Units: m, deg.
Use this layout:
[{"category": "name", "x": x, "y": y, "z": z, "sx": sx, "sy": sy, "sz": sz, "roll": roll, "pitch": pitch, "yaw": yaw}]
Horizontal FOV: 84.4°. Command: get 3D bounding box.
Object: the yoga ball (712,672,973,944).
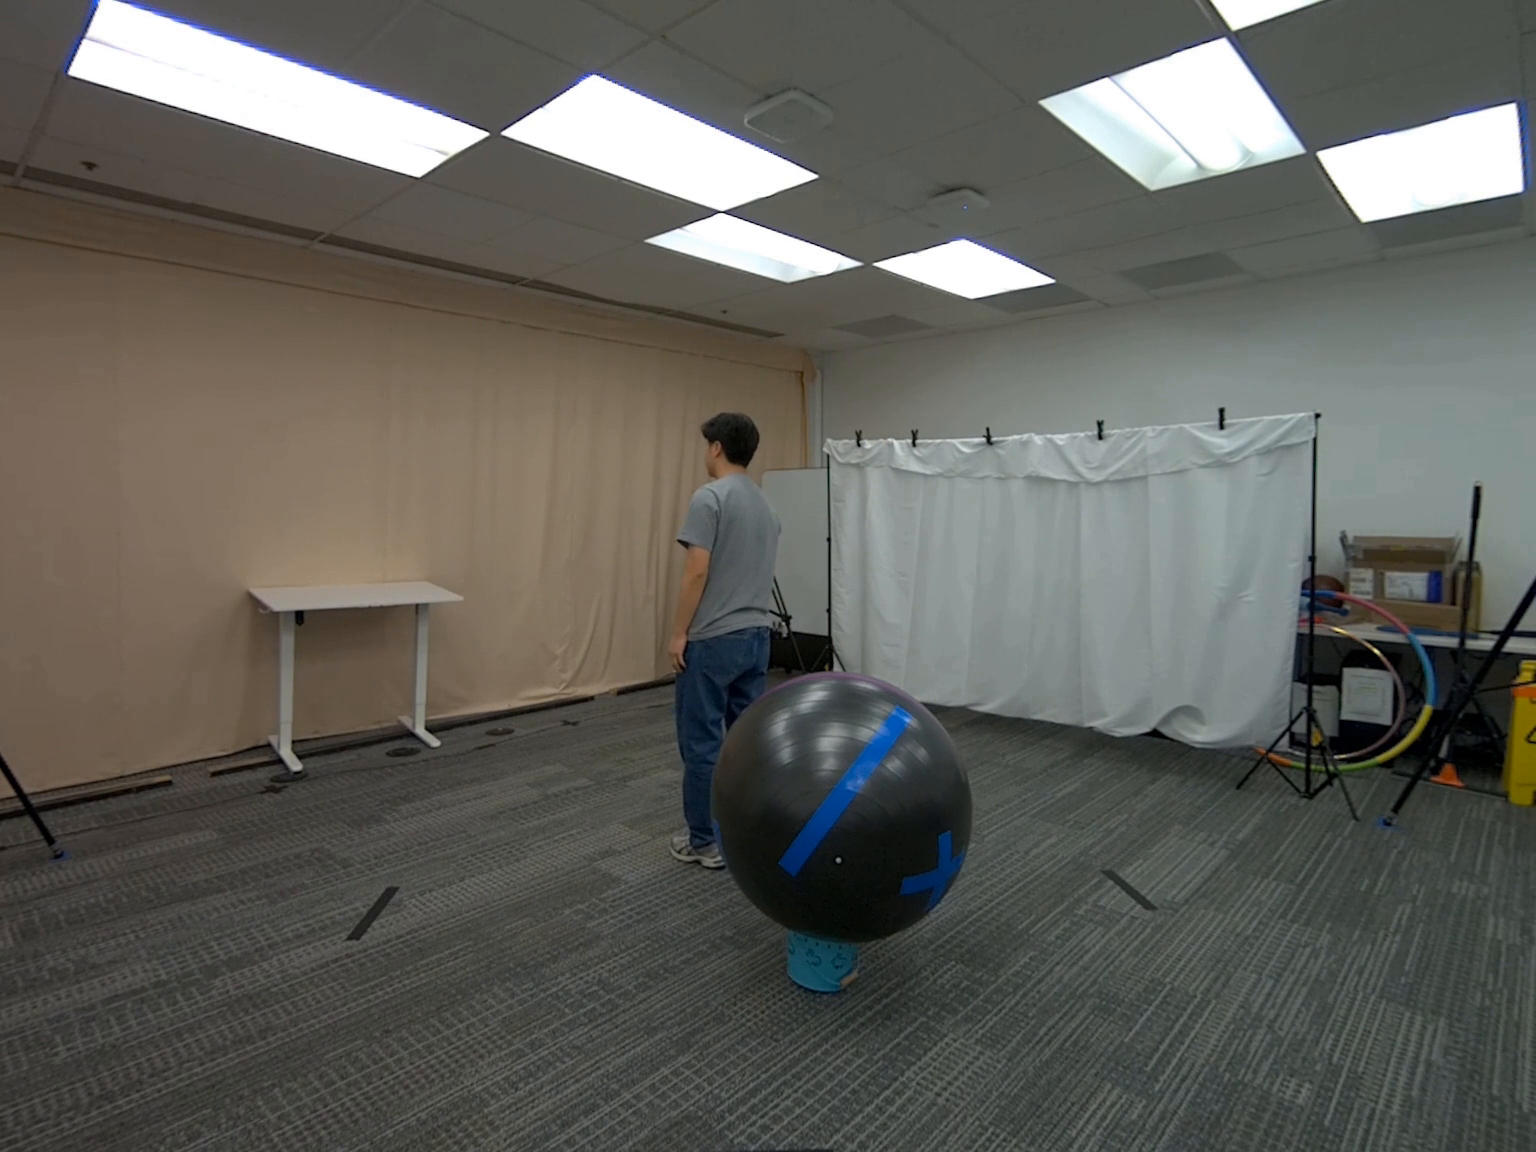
[{"category": "yoga ball", "x": 0.212, "y": 0.673, "z": 2.476, "sx": 0.757, "sy": 0.756, "sz": 0.761, "roll": 0, "pitch": 4, "yaw": -2}]
